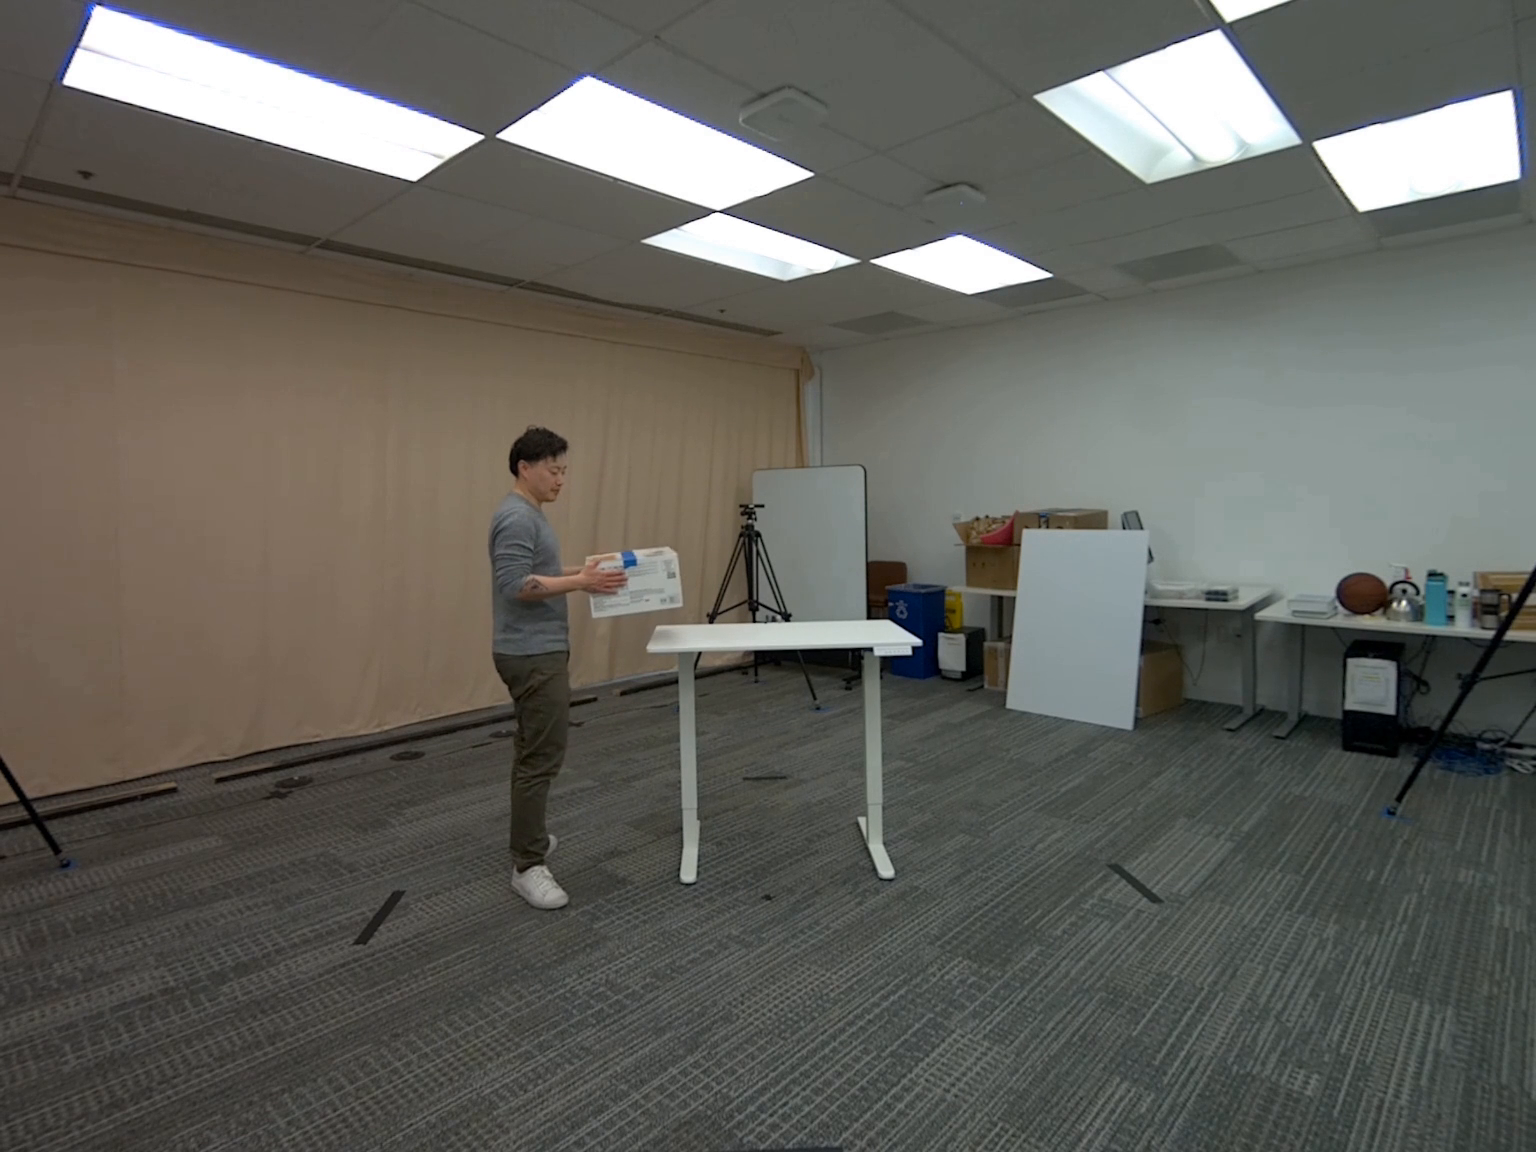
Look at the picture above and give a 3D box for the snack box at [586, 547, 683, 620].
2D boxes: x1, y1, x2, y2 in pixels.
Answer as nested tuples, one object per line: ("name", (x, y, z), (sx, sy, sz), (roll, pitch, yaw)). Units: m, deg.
("snack box", (-0.527, 0.021, 3.267), (0.337, 0.205, 0.410), (-8, 6, -9))
